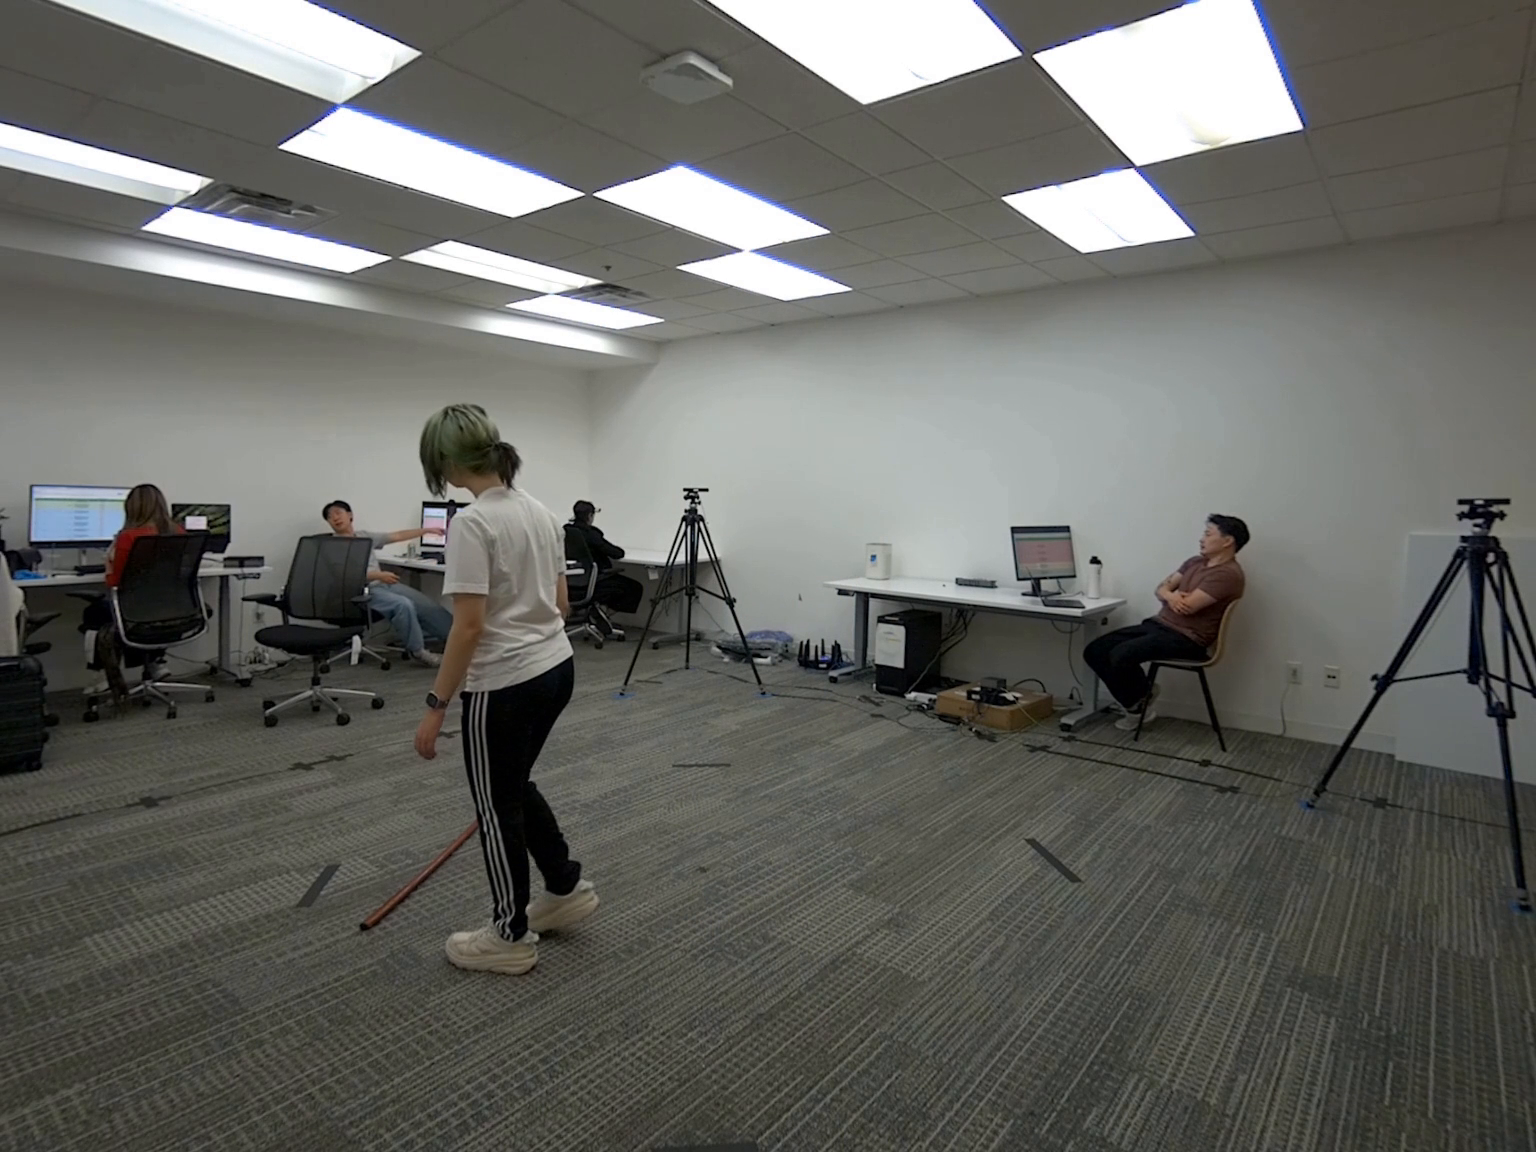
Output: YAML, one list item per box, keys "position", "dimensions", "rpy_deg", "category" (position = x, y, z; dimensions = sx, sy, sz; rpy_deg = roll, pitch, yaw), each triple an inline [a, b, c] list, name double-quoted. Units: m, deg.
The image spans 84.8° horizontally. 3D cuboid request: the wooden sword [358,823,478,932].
- position: [-1.198, 1.020, 3.134]
  dimensions: [0.051, 0.024, 1.022]
  rpy_deg: [-41, 2, 7]
  category: "wooden sword"
